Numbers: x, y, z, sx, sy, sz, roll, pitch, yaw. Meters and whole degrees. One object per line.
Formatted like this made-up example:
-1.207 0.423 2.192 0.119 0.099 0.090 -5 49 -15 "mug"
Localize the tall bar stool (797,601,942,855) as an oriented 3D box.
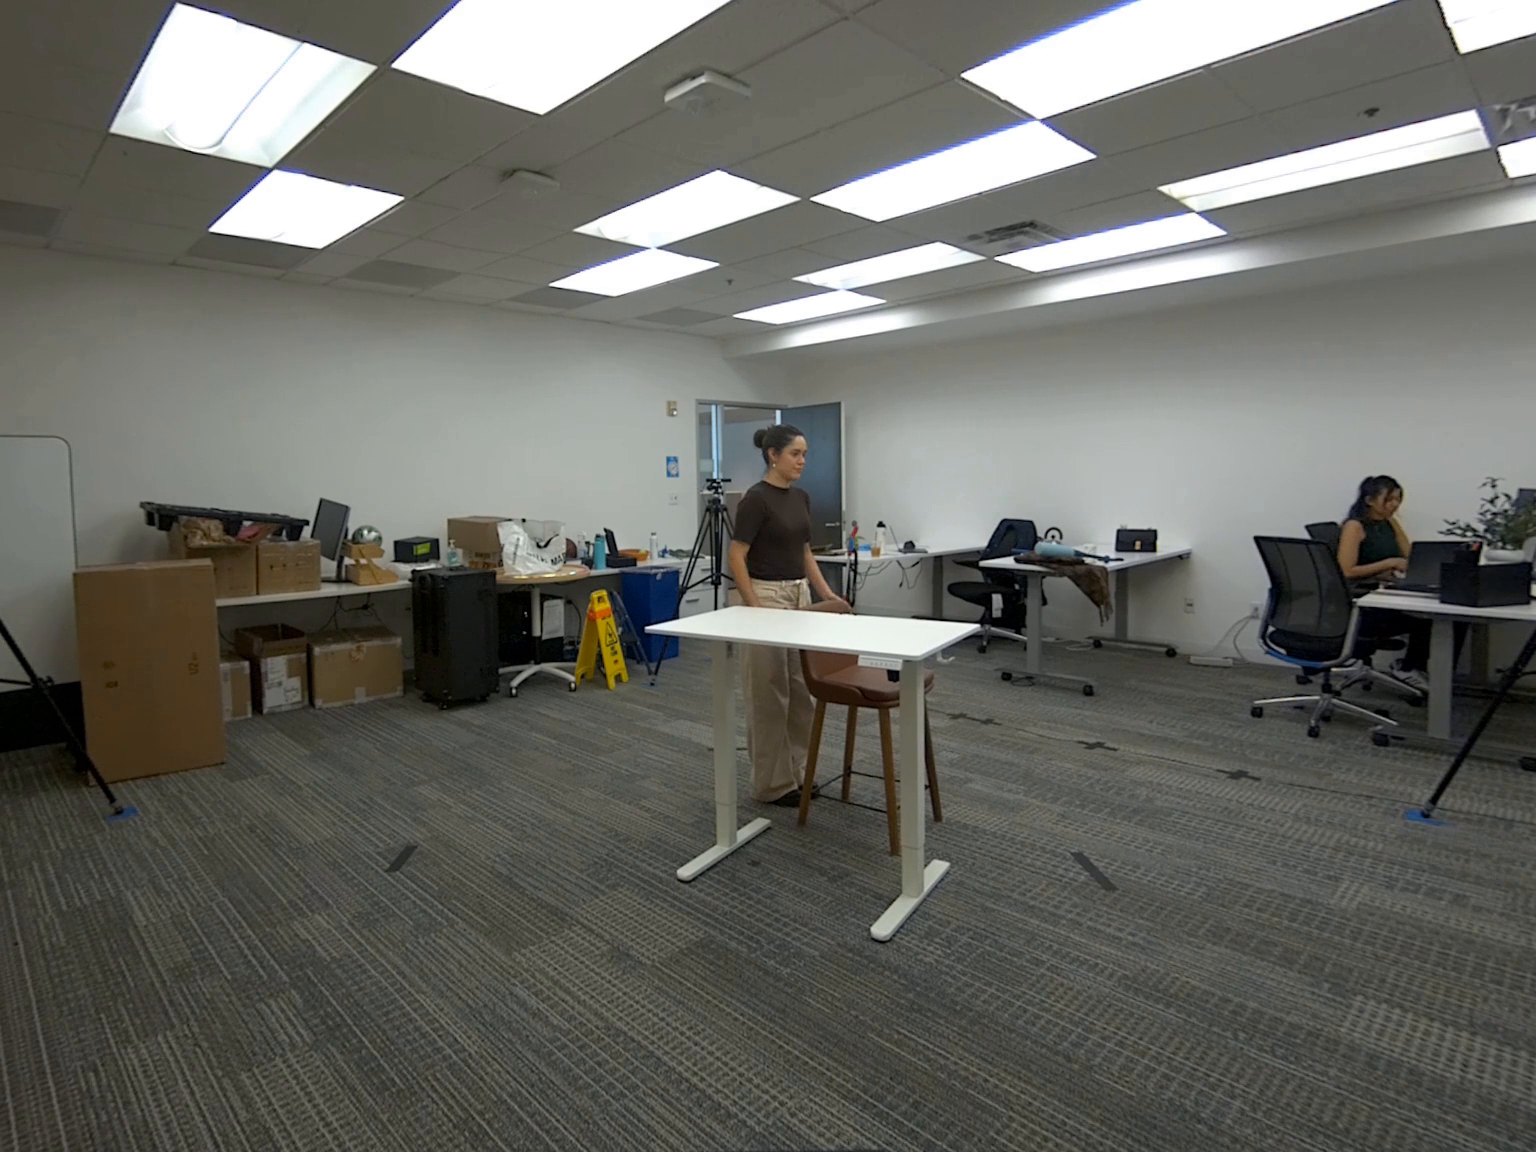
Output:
0.393 0.565 3.422 0.481 0.888 0.445 0 3 37 "tall bar stool"
